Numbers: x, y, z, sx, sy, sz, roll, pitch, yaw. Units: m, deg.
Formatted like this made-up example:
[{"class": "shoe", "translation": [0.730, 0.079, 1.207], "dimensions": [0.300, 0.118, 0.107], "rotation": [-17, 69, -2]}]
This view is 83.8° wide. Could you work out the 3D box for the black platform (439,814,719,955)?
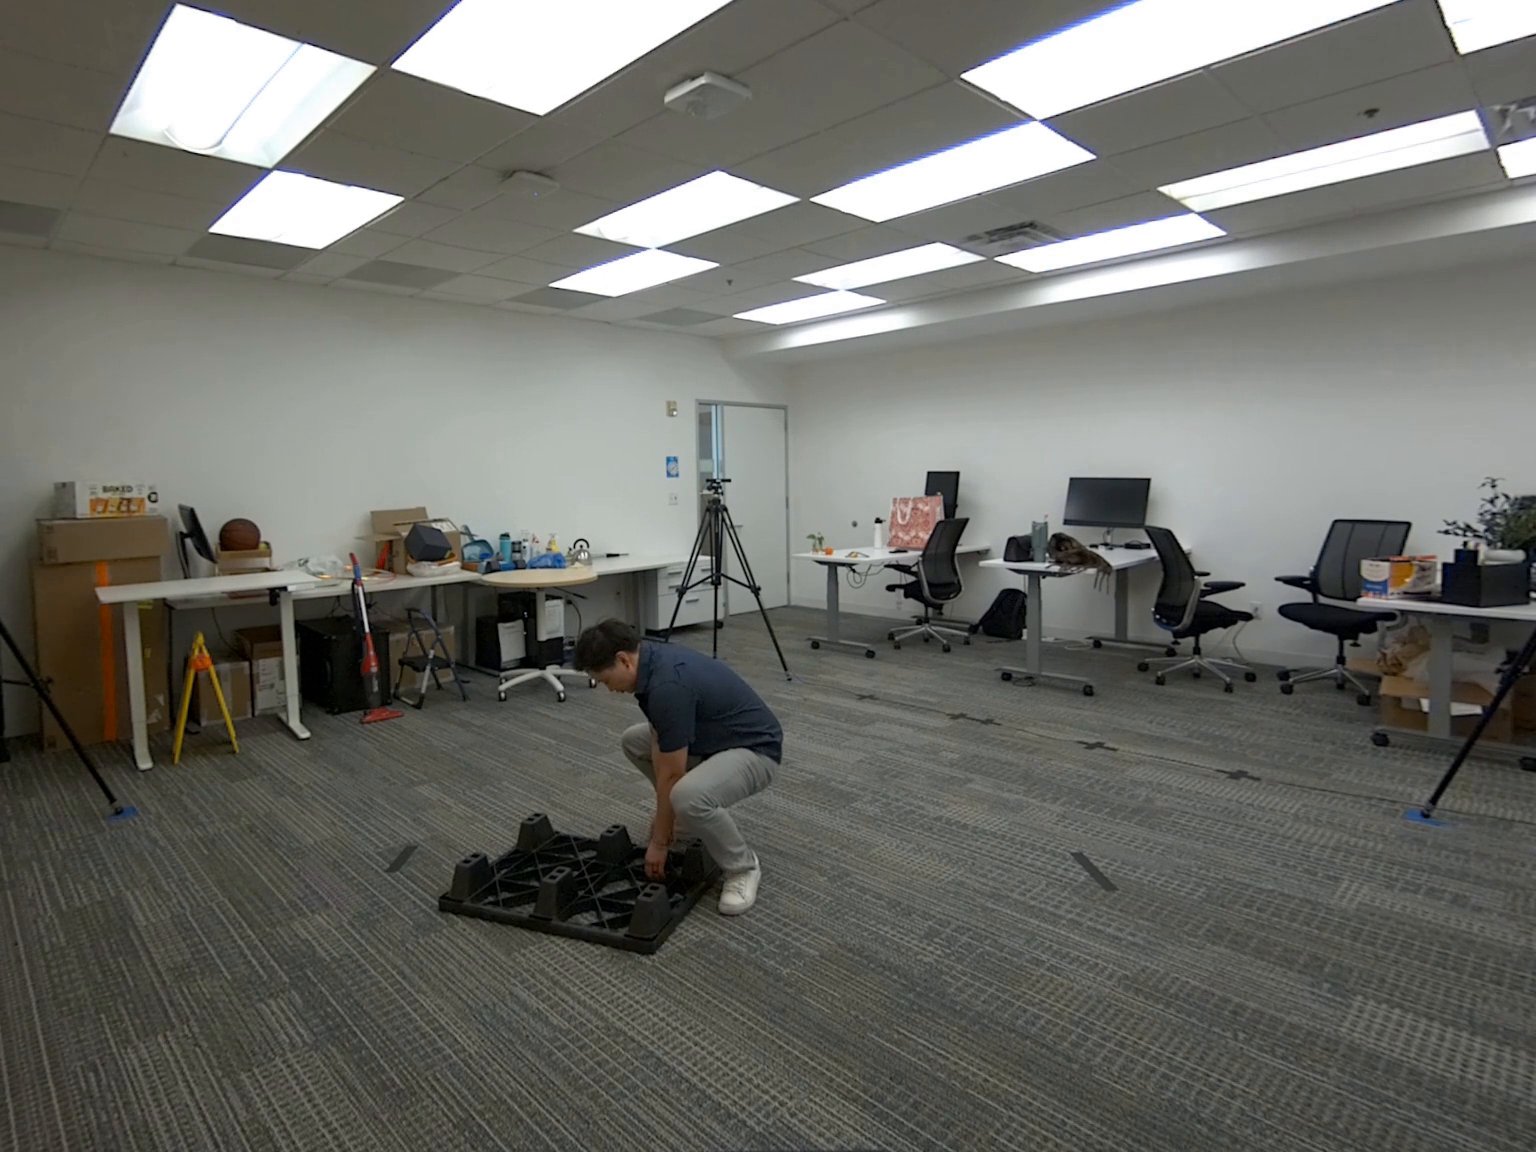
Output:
[{"class": "black platform", "translation": [-0.619, 1.005, 2.932], "dimensions": [0.822, 0.142, 0.596], "rotation": [2, 7, 21]}]
